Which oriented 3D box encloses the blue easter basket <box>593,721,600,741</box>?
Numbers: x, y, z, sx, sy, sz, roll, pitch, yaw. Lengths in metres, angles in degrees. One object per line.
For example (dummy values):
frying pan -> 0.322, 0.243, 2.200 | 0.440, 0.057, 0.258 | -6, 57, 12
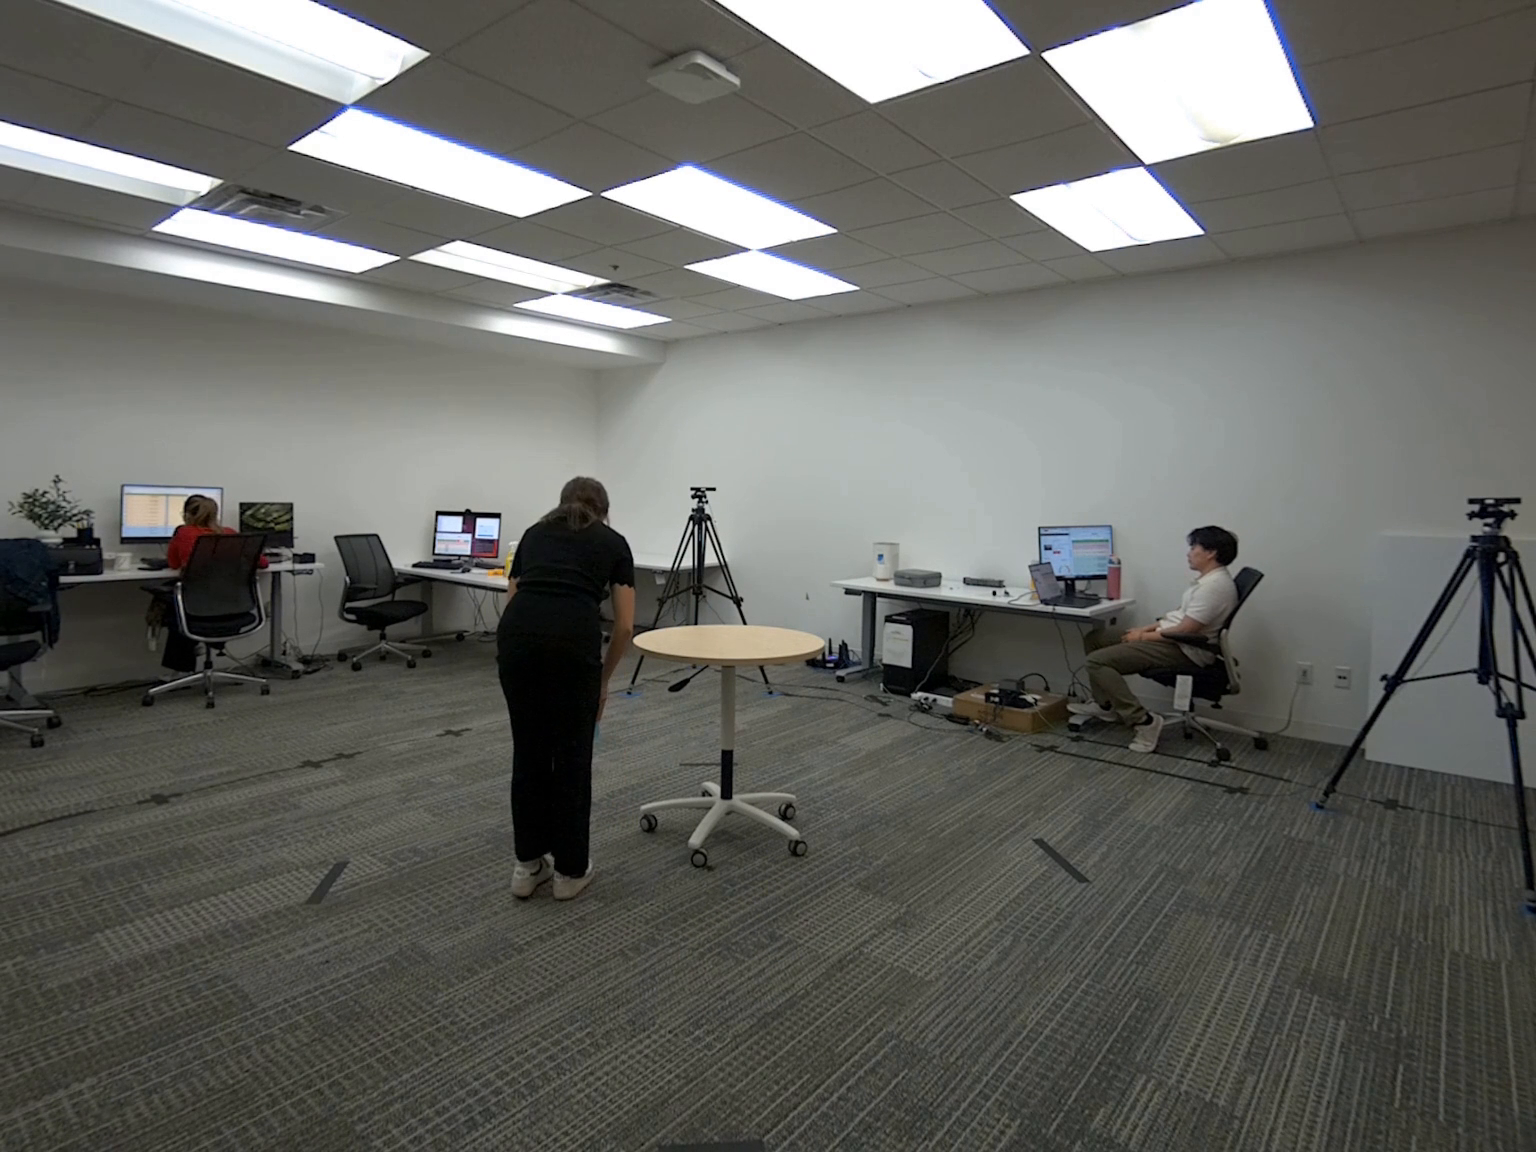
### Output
blue easter basket -> -0.740, 0.529, 3.087 | 0.243, 0.156, 0.243 | -8, -1, -2
